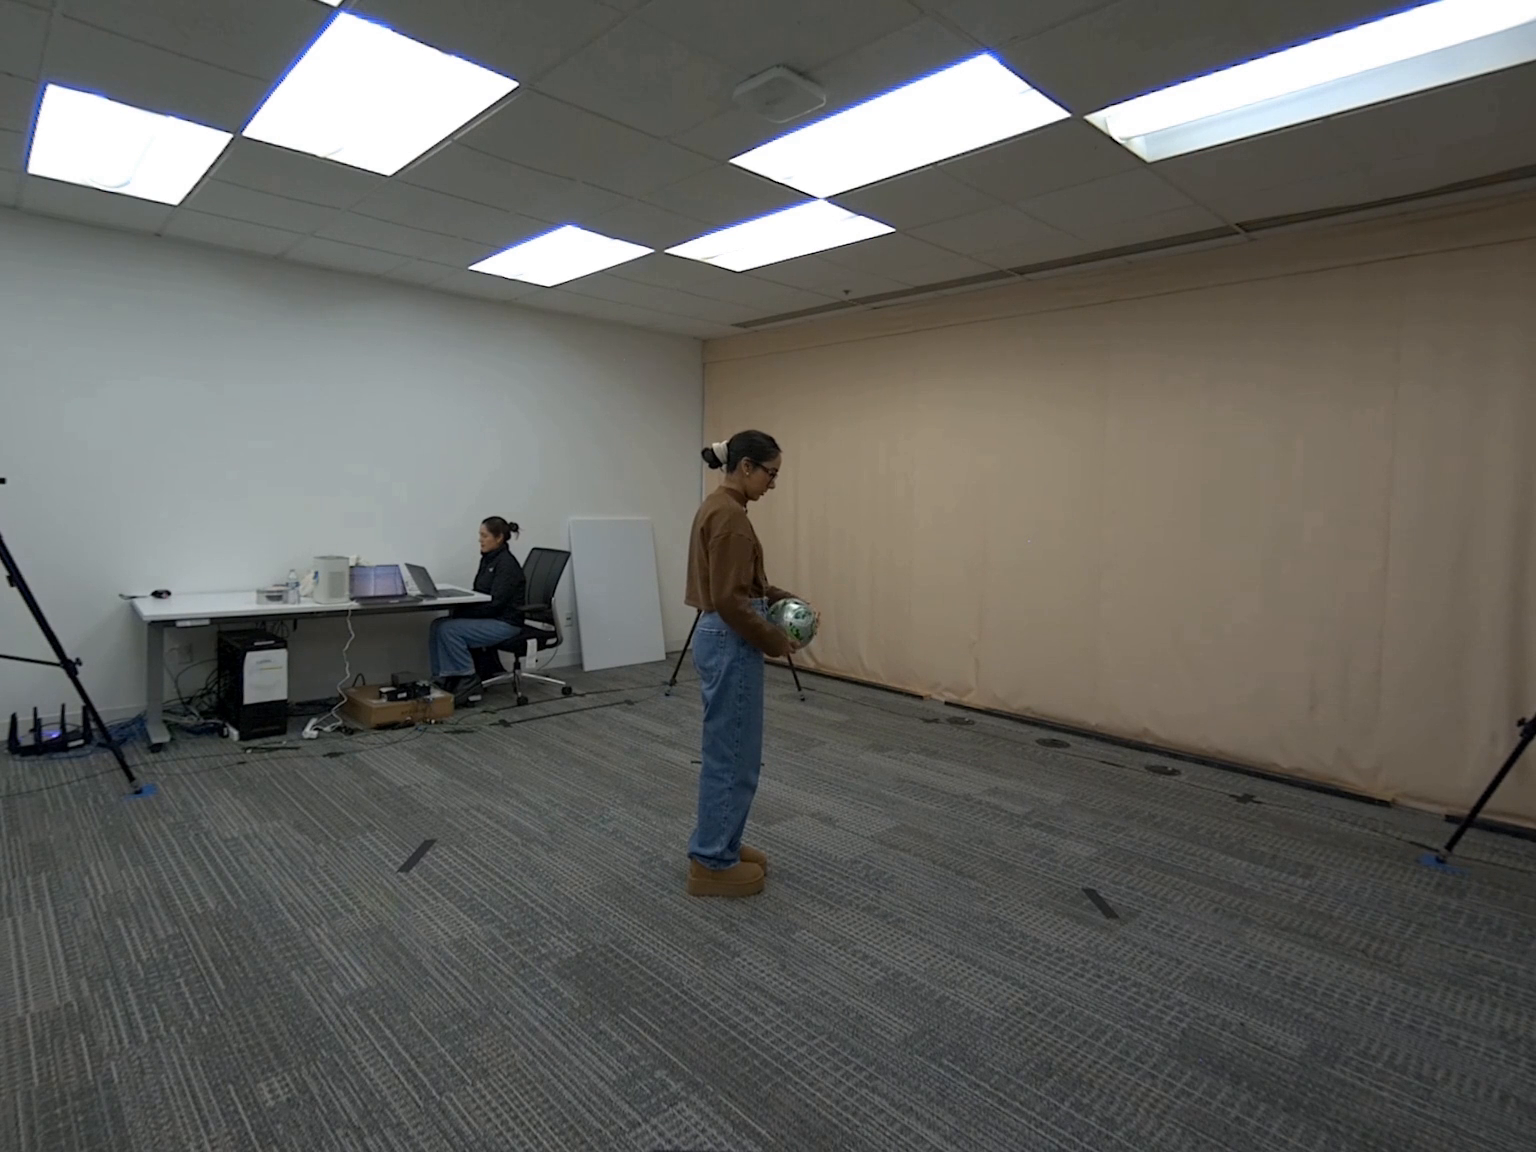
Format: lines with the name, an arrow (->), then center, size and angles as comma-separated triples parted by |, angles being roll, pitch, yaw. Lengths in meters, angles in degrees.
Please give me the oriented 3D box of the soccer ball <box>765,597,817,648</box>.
soccer ball -> 0.062, 0.174, 3.011 | 0.187, 0.187, 0.188 | 1, 4, -1
